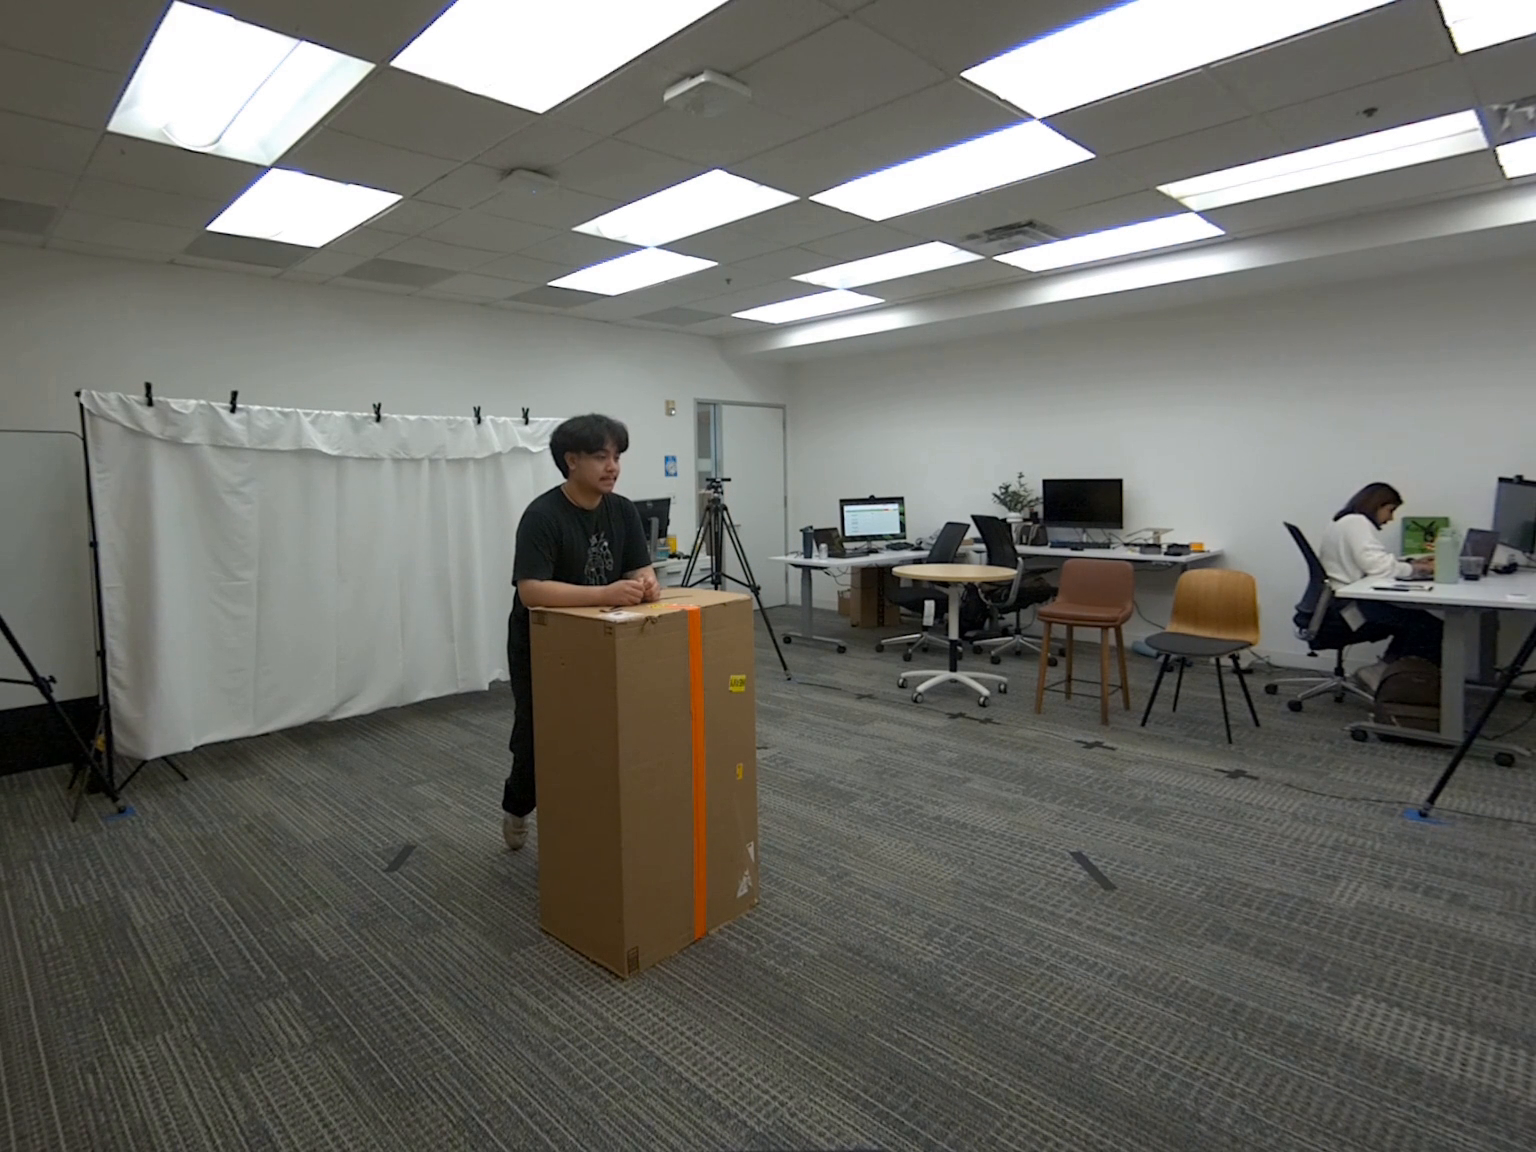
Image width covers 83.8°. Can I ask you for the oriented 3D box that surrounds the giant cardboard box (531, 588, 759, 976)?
[{"bbox_3d":[-0.377,0.585,2.705,0.461,1.022,0.569,4,7,43],"label":"giant cardboard box"}]
